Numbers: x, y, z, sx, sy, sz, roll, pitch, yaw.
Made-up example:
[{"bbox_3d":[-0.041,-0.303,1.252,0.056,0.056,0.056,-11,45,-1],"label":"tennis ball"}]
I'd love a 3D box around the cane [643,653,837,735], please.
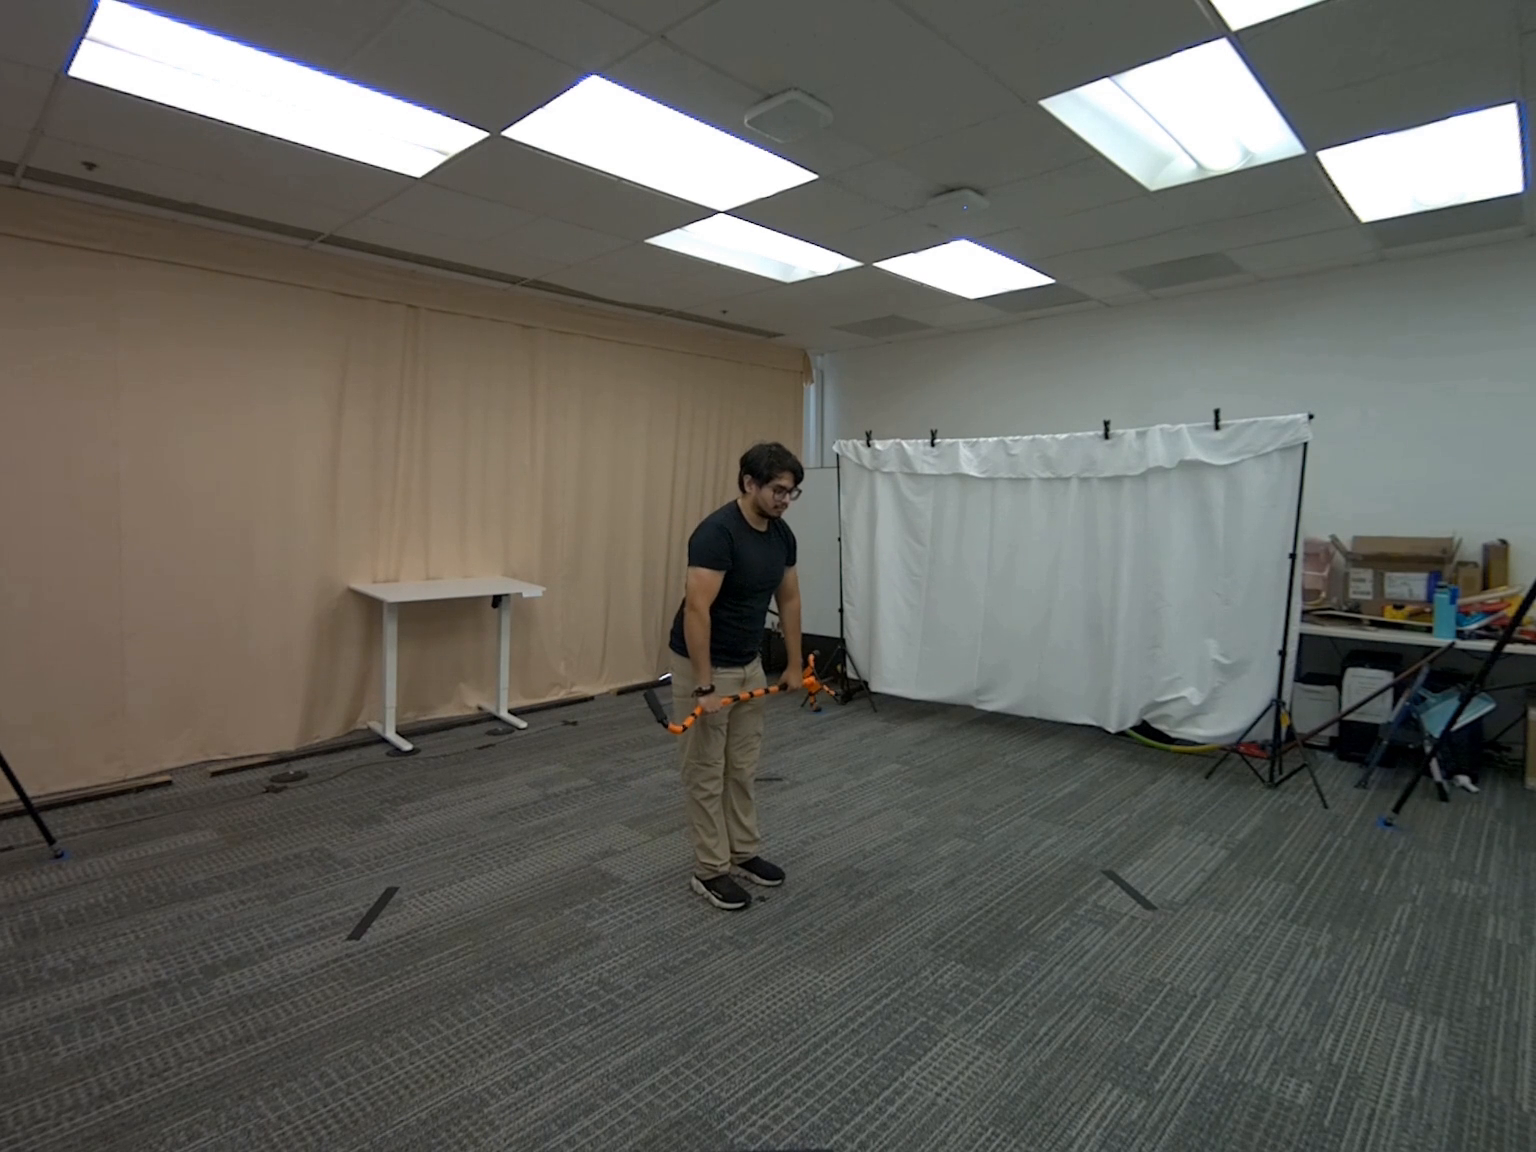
[{"bbox_3d":[-0.070,0.443,2.990,0.880,0.211,0.153,-4,-33,-50],"label":"cane"}]
